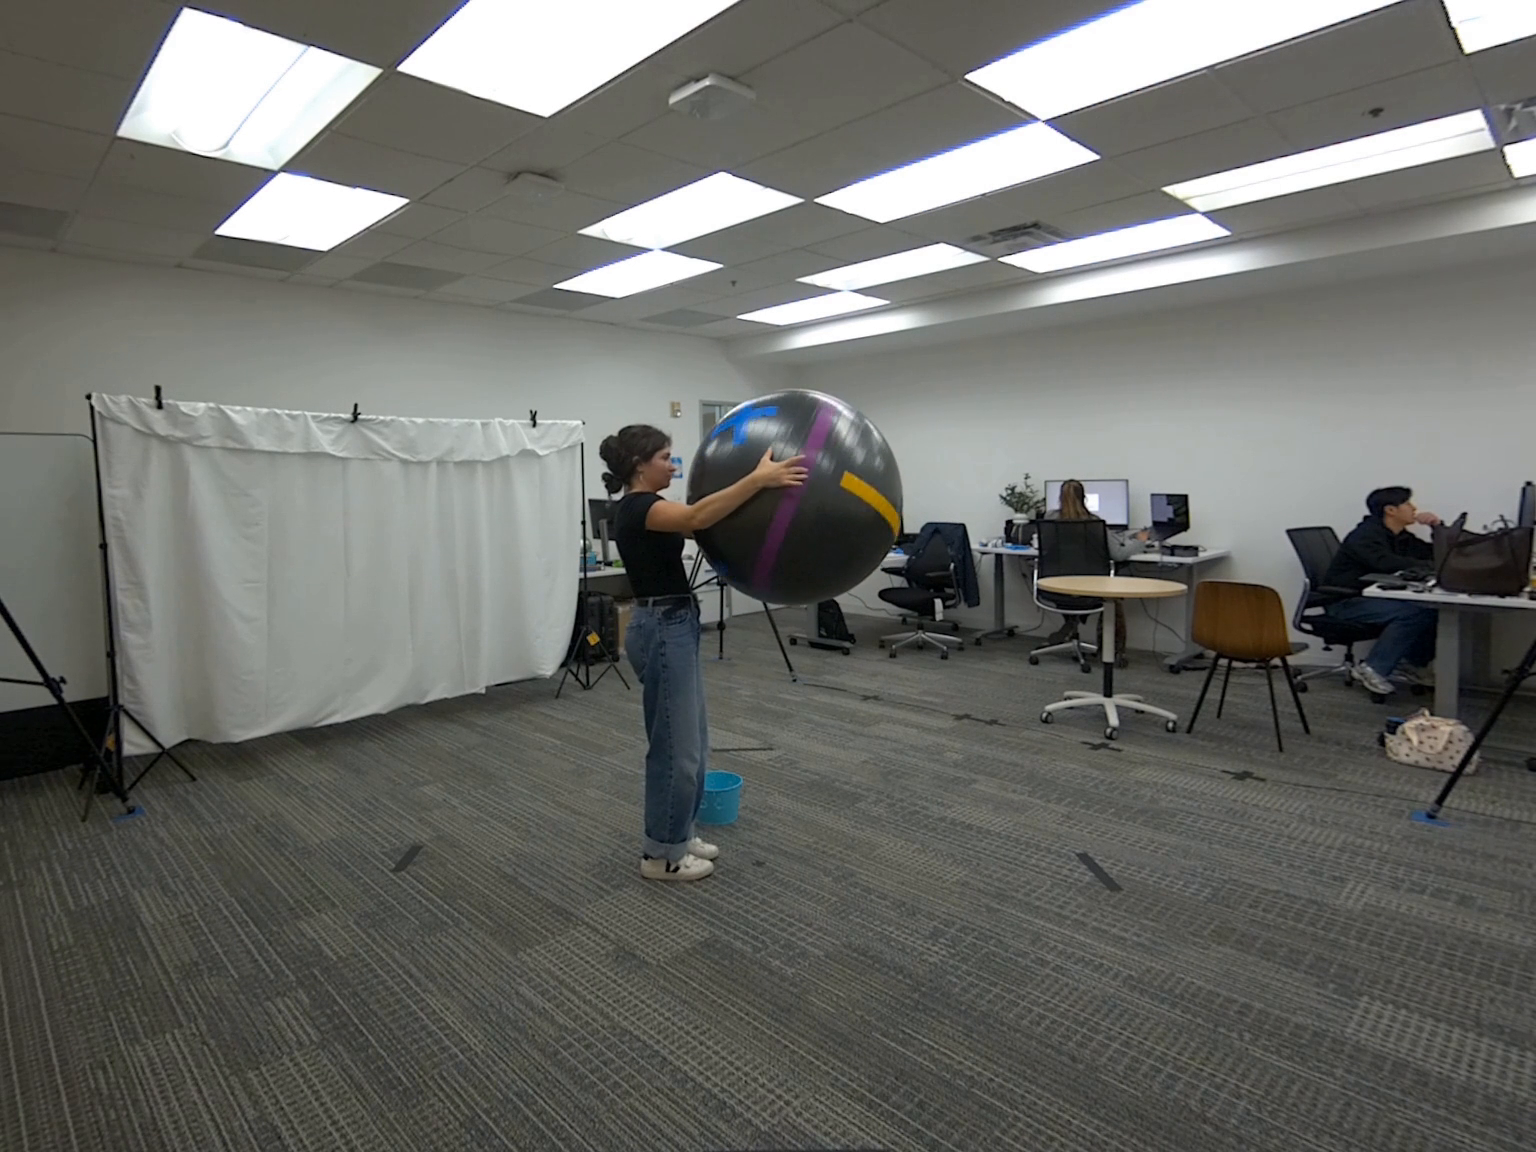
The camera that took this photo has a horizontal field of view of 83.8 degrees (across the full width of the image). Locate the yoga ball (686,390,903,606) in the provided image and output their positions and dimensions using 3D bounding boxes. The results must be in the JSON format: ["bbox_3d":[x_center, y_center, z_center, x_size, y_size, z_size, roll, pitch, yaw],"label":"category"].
[{"bbox_3d":[0.094,-0.266,3.017,0.757,0.755,0.762,-1,5,-2],"label":"yoga ball"}]
